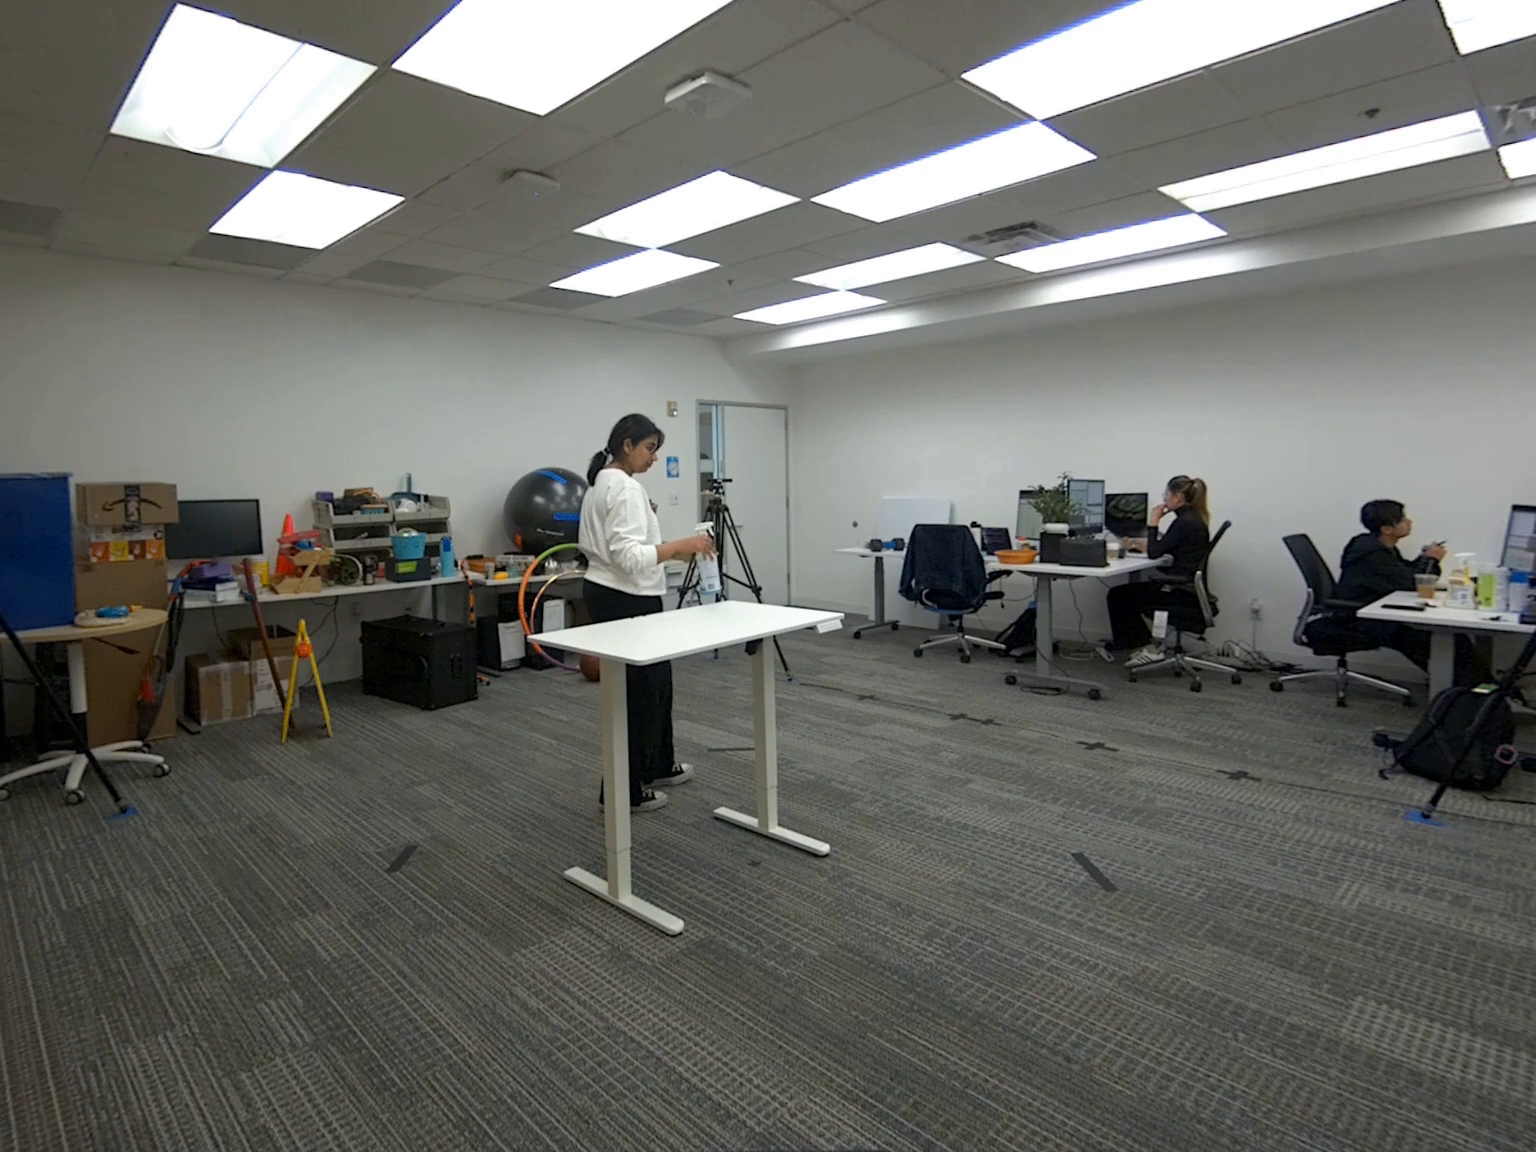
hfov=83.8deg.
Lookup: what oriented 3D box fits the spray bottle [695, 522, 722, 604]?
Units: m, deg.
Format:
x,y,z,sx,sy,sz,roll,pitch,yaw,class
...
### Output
x,y,z,sx,sy,sz,roll,pitch,yaw,class
-0.258,-0.073,3.540,0.085,0.295,0.092,-11,8,-35,spray bottle
